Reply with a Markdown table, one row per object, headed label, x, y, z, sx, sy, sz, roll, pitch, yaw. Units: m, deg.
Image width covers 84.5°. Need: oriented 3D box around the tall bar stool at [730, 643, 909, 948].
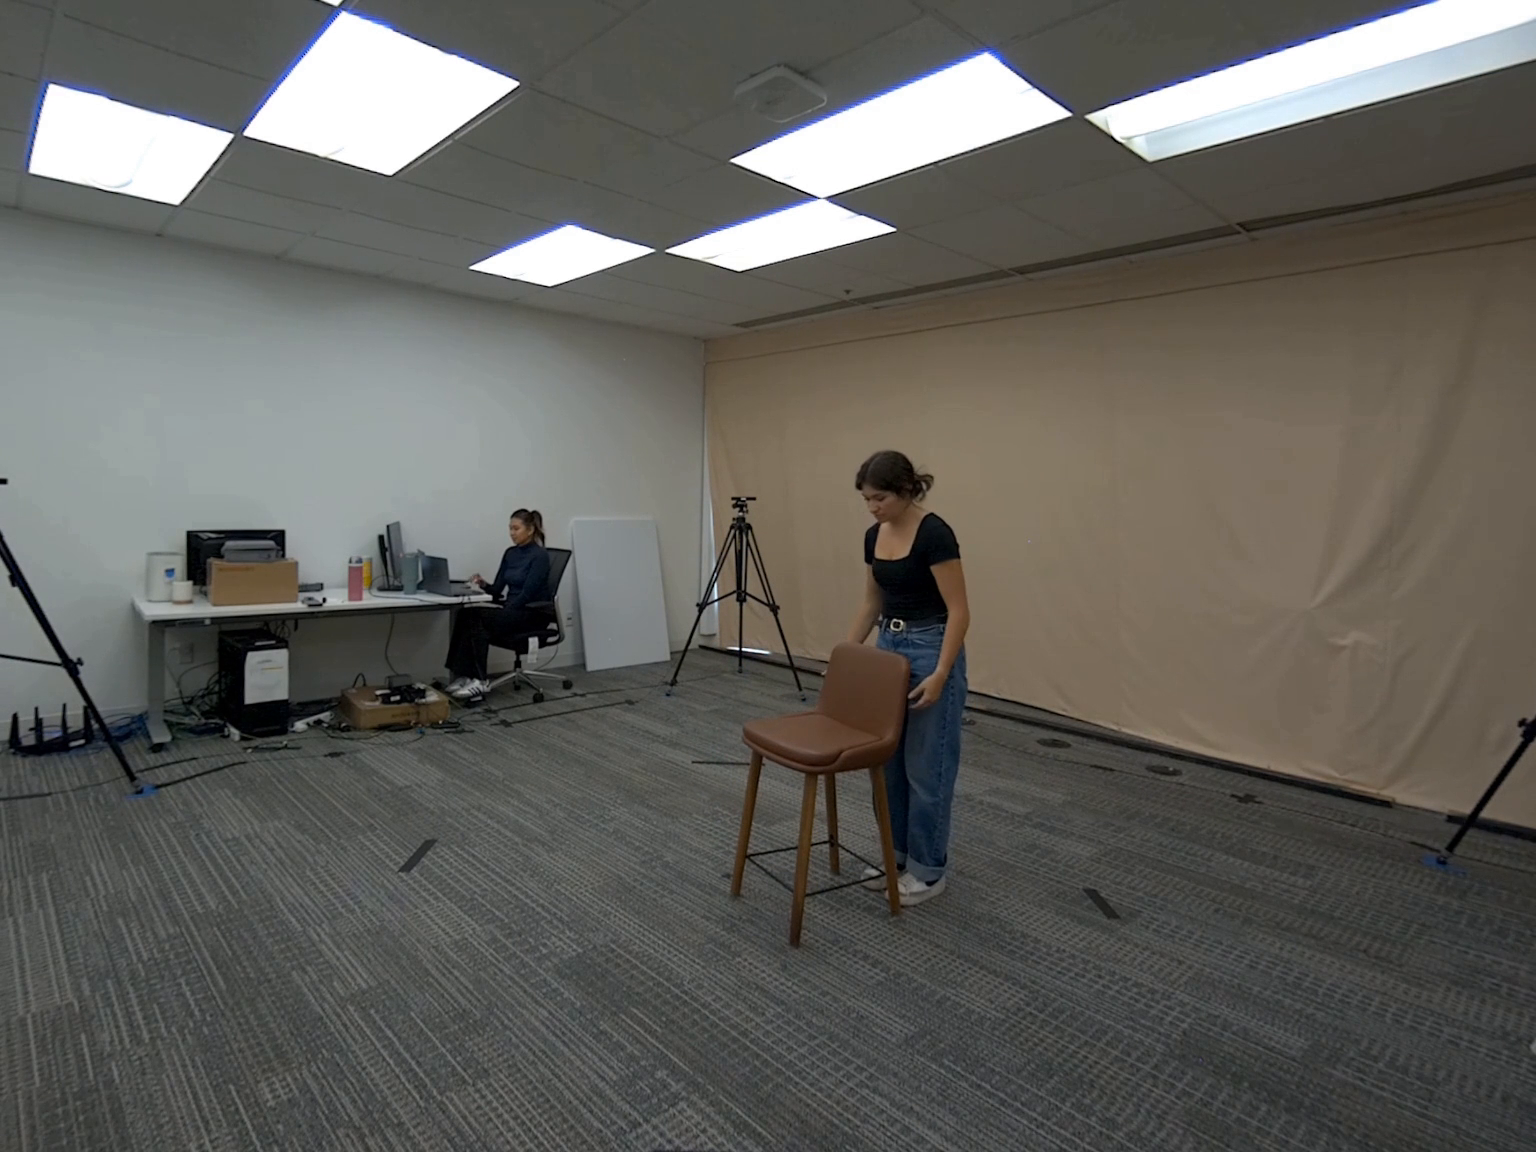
| label | x | y | z | sx | sy | sz | roll | pitch | yaw |
| --- | --- | --- | --- | --- | --- | --- | --- | --- | --- |
| tall bar stool | 0.175 | 0.702 | 2.867 | 0.458 | 0.888 | 0.467 | 2 | 3 | -31 |
